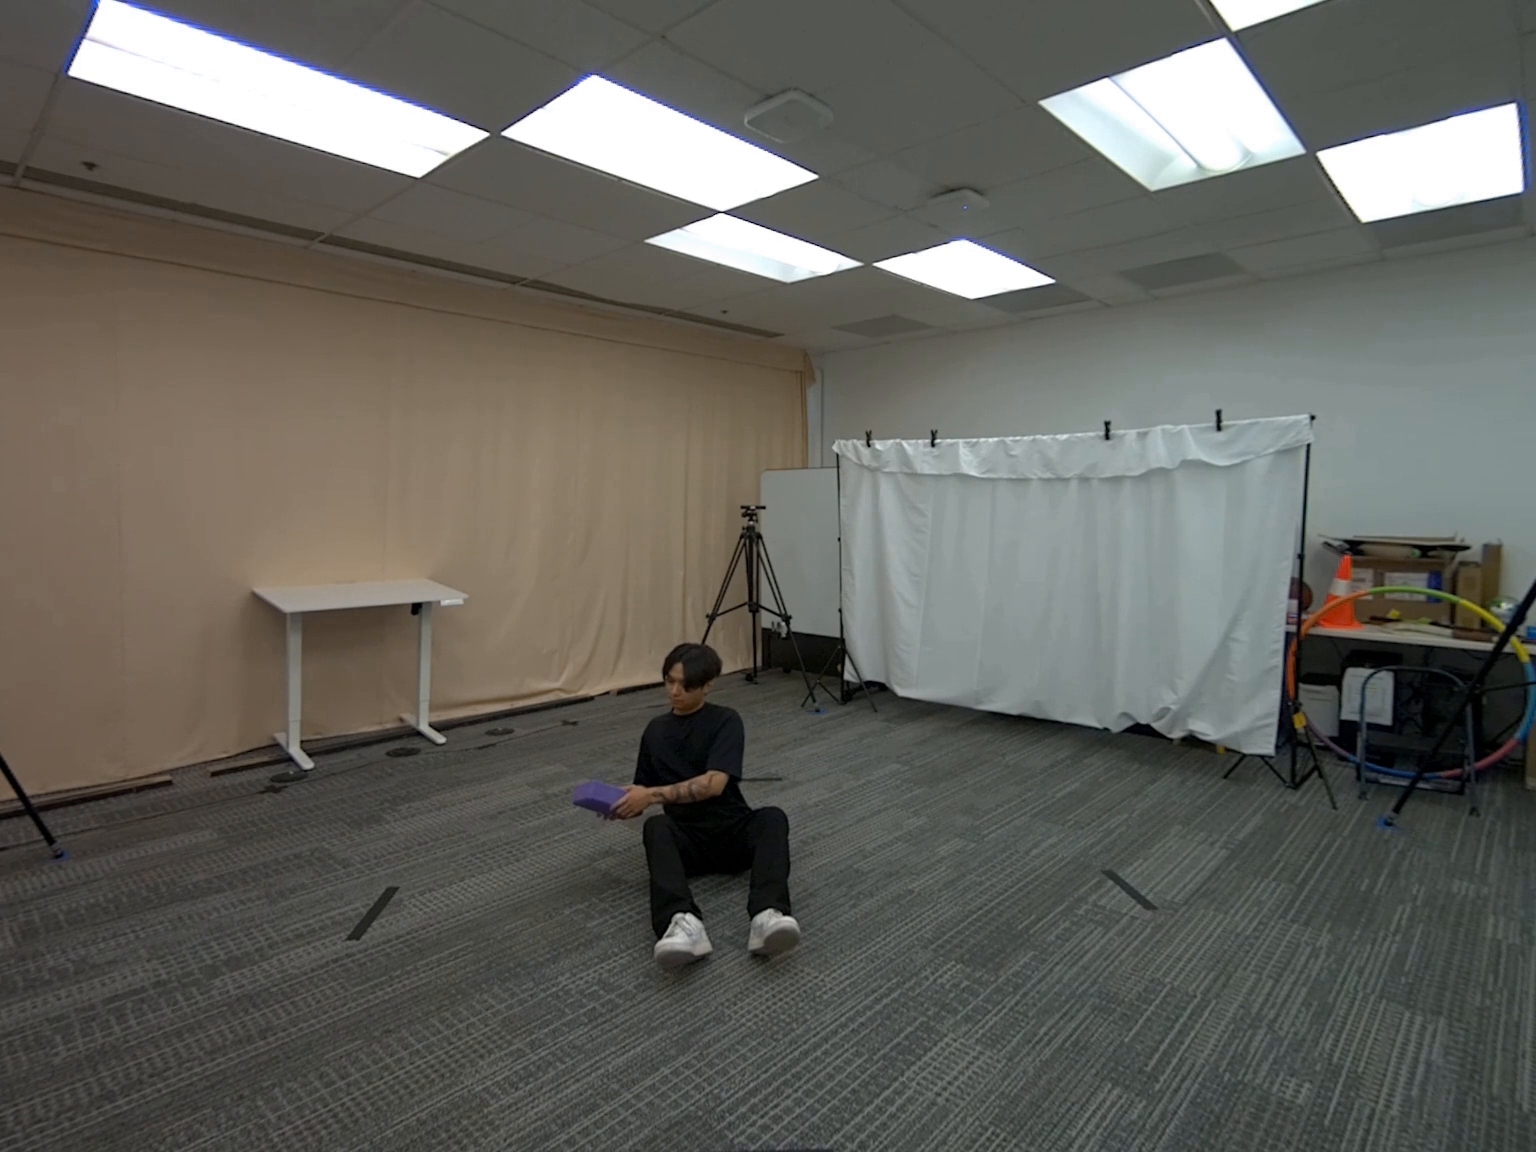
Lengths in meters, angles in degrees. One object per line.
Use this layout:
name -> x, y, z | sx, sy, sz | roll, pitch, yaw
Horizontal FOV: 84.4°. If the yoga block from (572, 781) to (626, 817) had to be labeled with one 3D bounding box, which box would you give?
yoga block -> -0.587, 0.827, 3.119 | 0.222, 0.077, 0.152 | 27, -34, -30
